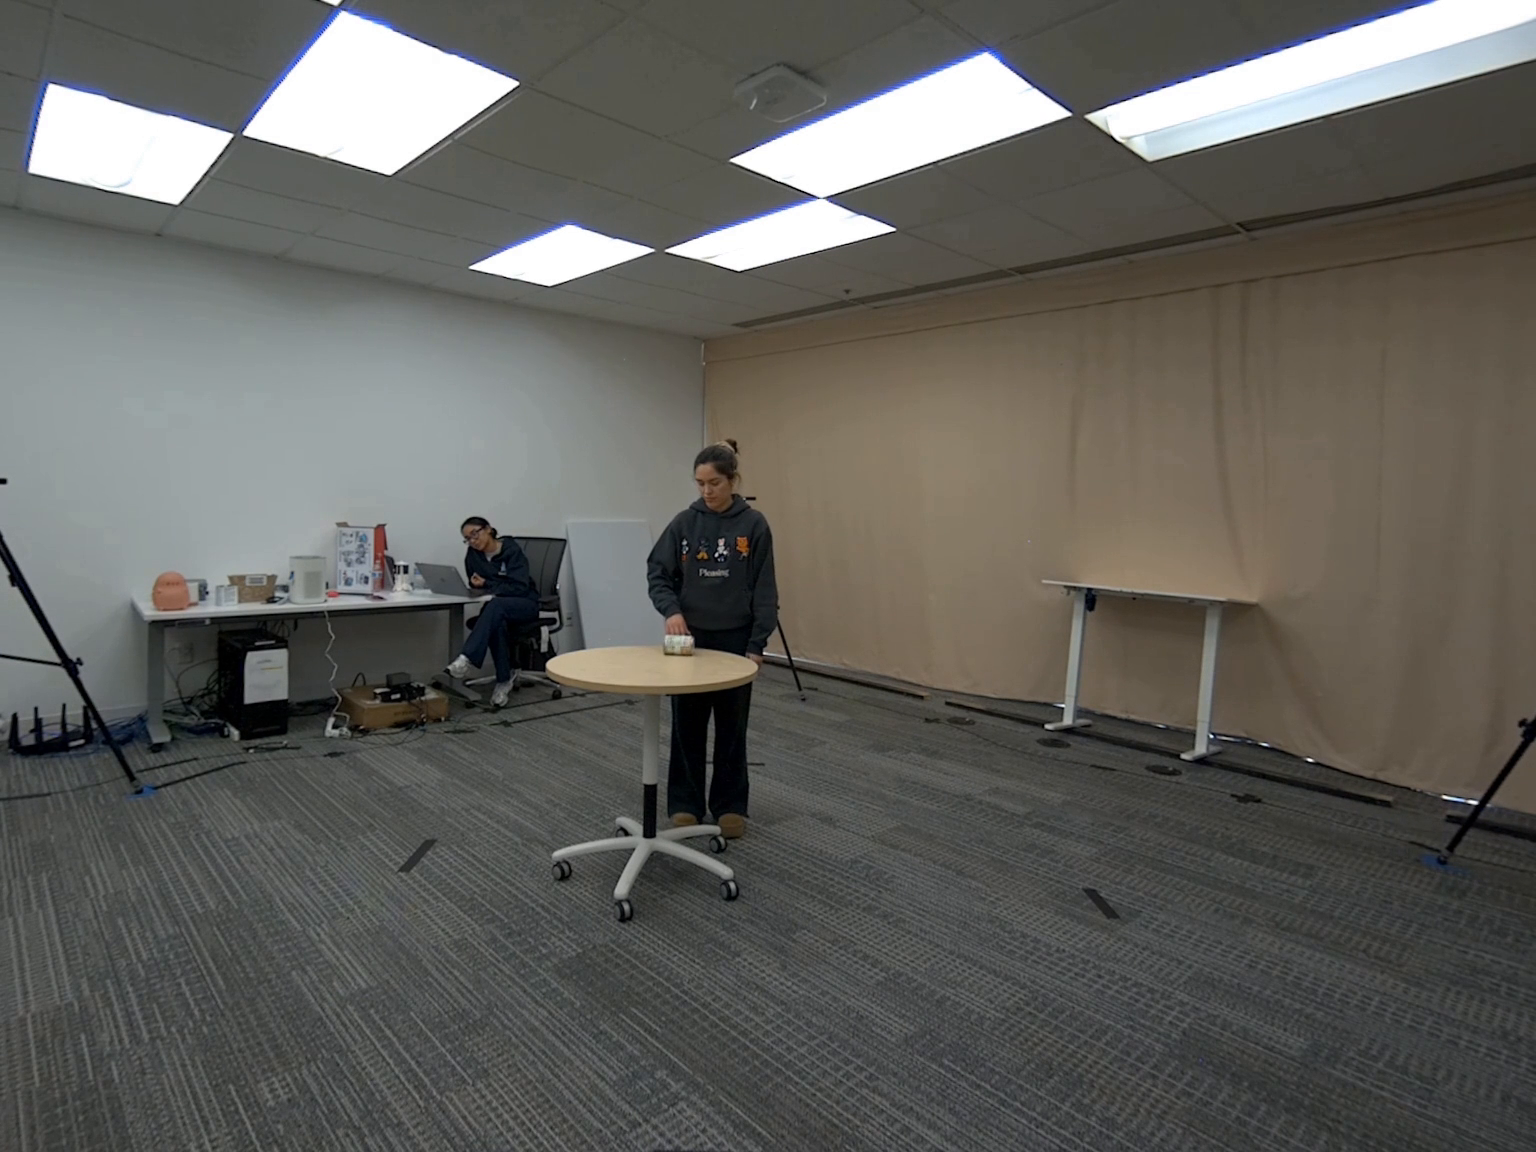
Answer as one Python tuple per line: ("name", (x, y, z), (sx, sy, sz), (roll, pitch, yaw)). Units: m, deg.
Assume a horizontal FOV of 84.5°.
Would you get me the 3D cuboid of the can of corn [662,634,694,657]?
("can of corn", (-0.357, 0.268, 3.265), (0.111, 0.074, 0.074), (3, 5, 3))
